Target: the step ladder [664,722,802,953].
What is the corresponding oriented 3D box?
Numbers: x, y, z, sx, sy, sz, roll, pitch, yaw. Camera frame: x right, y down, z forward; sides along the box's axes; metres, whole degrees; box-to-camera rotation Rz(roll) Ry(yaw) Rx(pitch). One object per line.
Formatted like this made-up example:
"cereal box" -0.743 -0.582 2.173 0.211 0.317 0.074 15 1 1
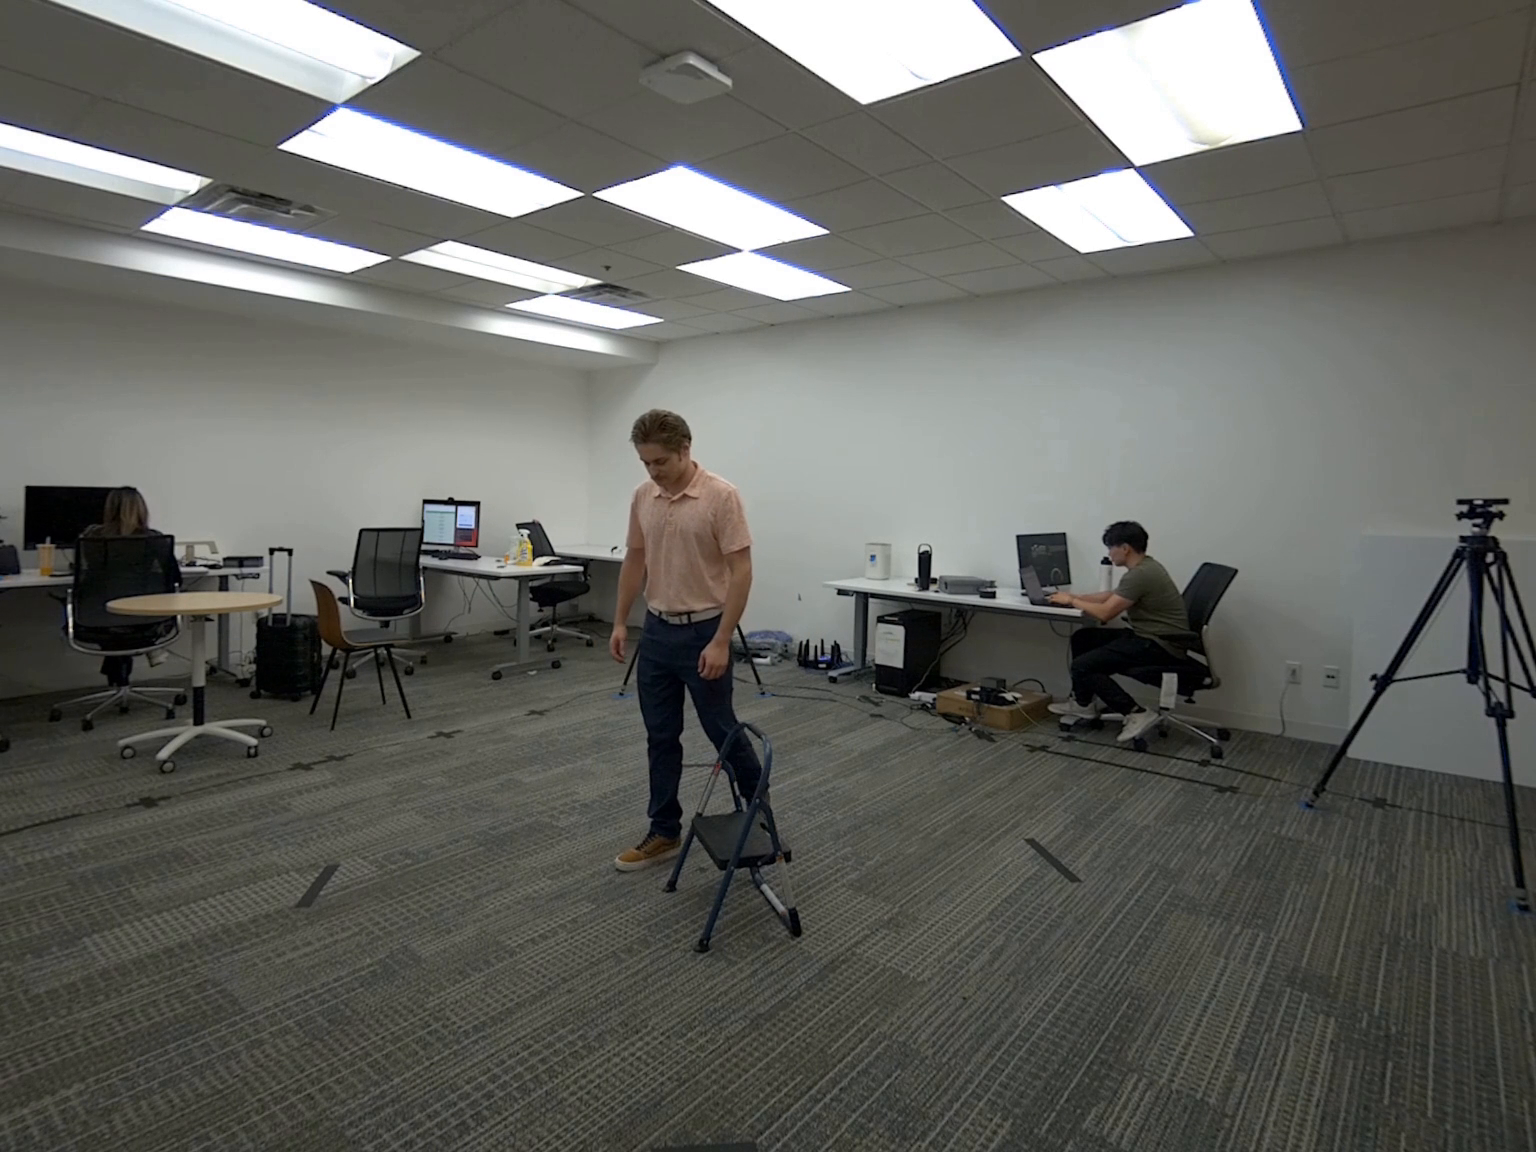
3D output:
"step ladder" -0.124 0.801 2.777 0.342 0.604 0.441 0 4 -20
